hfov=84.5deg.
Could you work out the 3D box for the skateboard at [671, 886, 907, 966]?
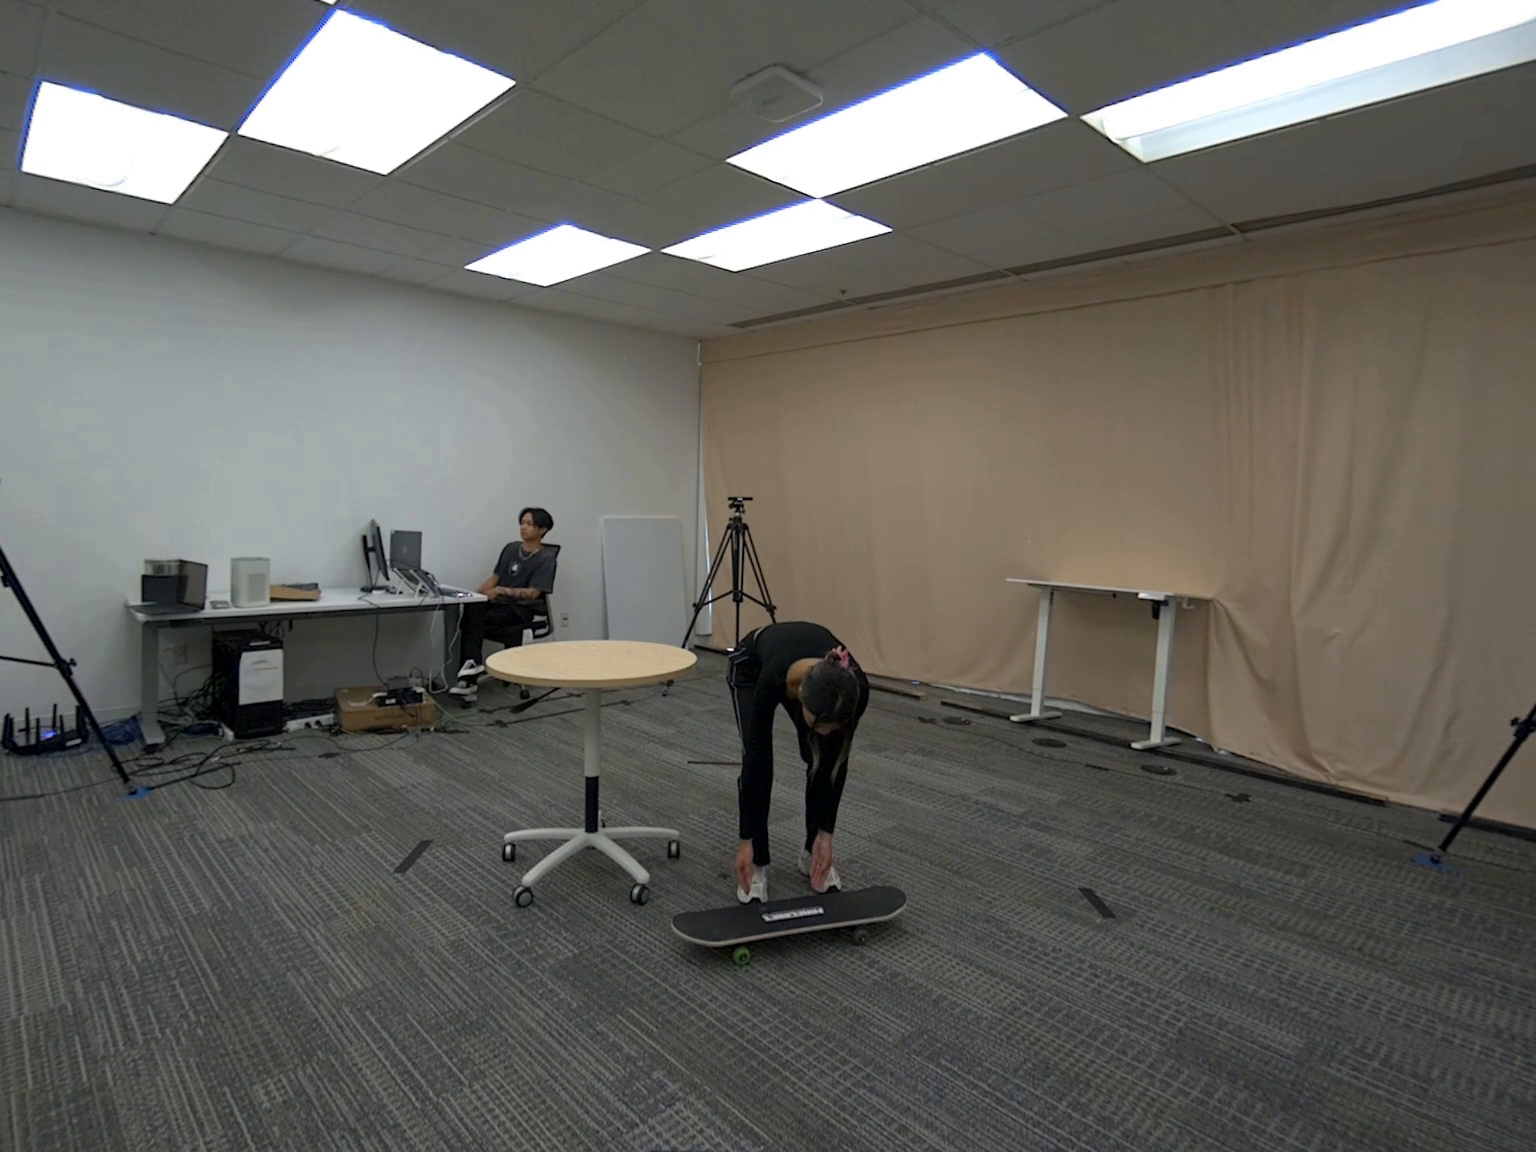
[{"bbox_3d":[0.073,1.089,2.657,0.774,0.110,0.197,-1,5,-19],"label":"skateboard"}]
